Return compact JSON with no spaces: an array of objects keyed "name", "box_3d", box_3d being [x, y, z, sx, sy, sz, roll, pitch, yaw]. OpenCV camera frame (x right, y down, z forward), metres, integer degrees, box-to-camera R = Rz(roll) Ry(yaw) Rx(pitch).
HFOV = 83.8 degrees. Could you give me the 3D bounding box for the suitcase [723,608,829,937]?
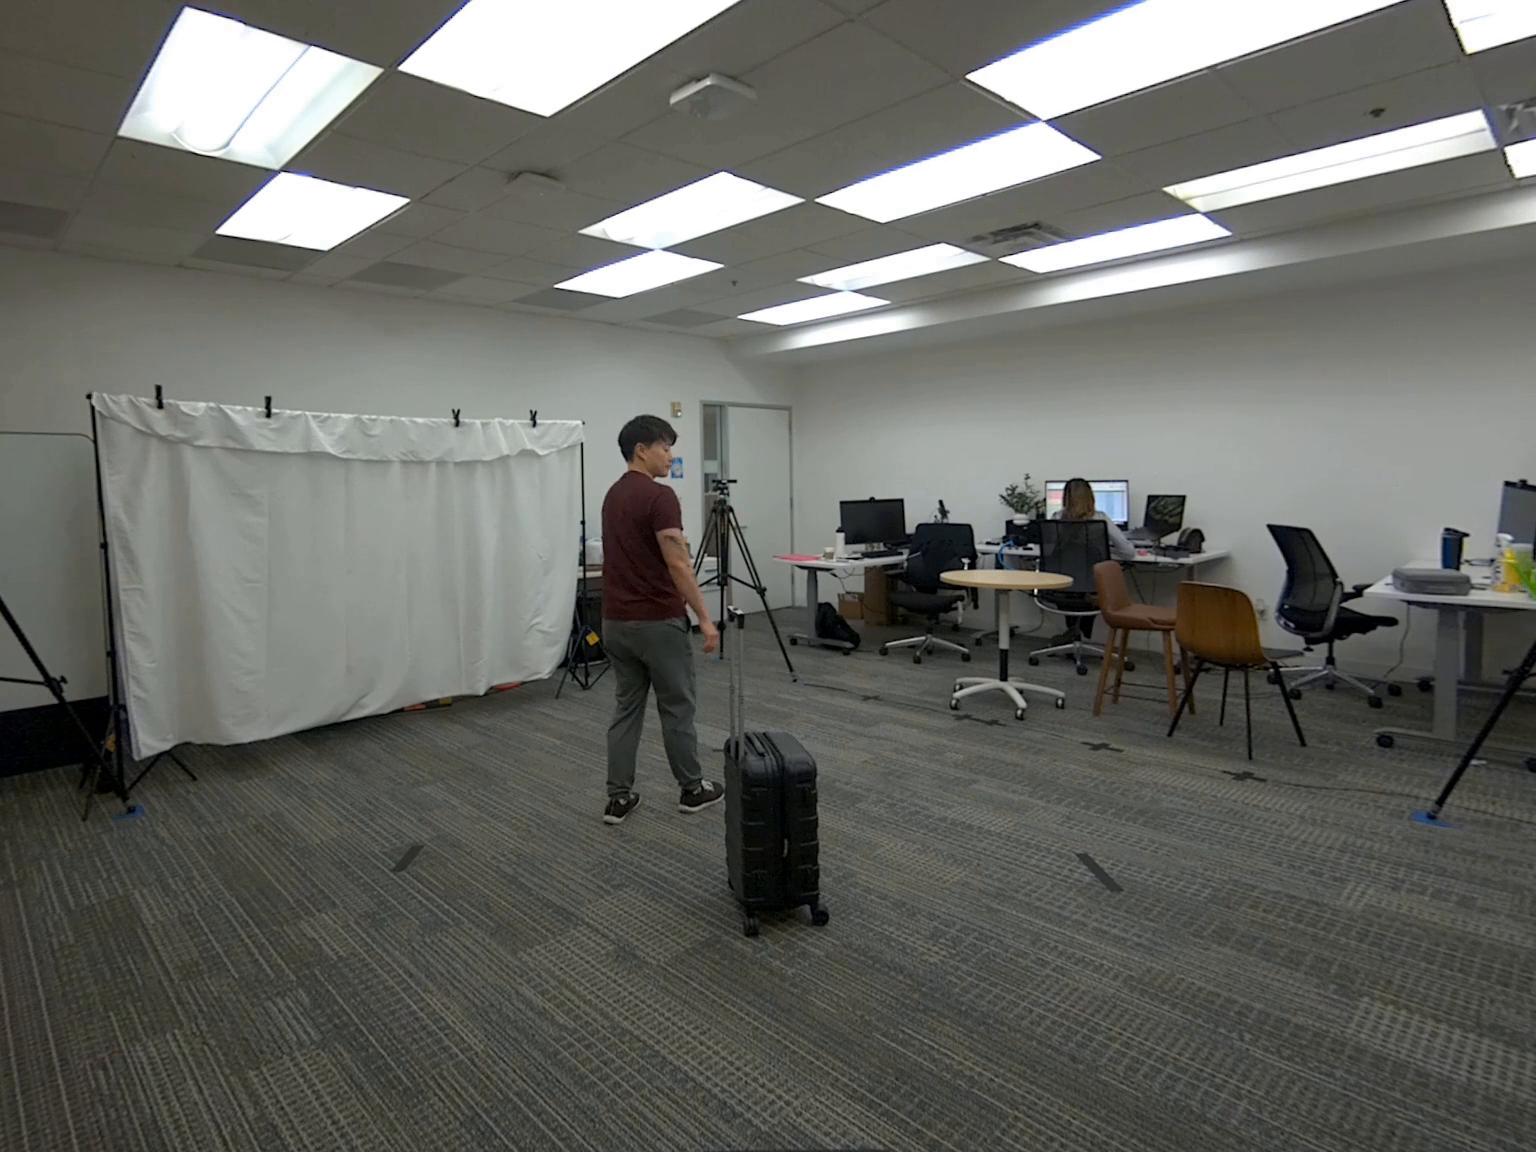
[{"name":"suitcase","box_3d":[0.007,0.604,2.783,0.254,0.975,0.389,1,4,-11]}]
